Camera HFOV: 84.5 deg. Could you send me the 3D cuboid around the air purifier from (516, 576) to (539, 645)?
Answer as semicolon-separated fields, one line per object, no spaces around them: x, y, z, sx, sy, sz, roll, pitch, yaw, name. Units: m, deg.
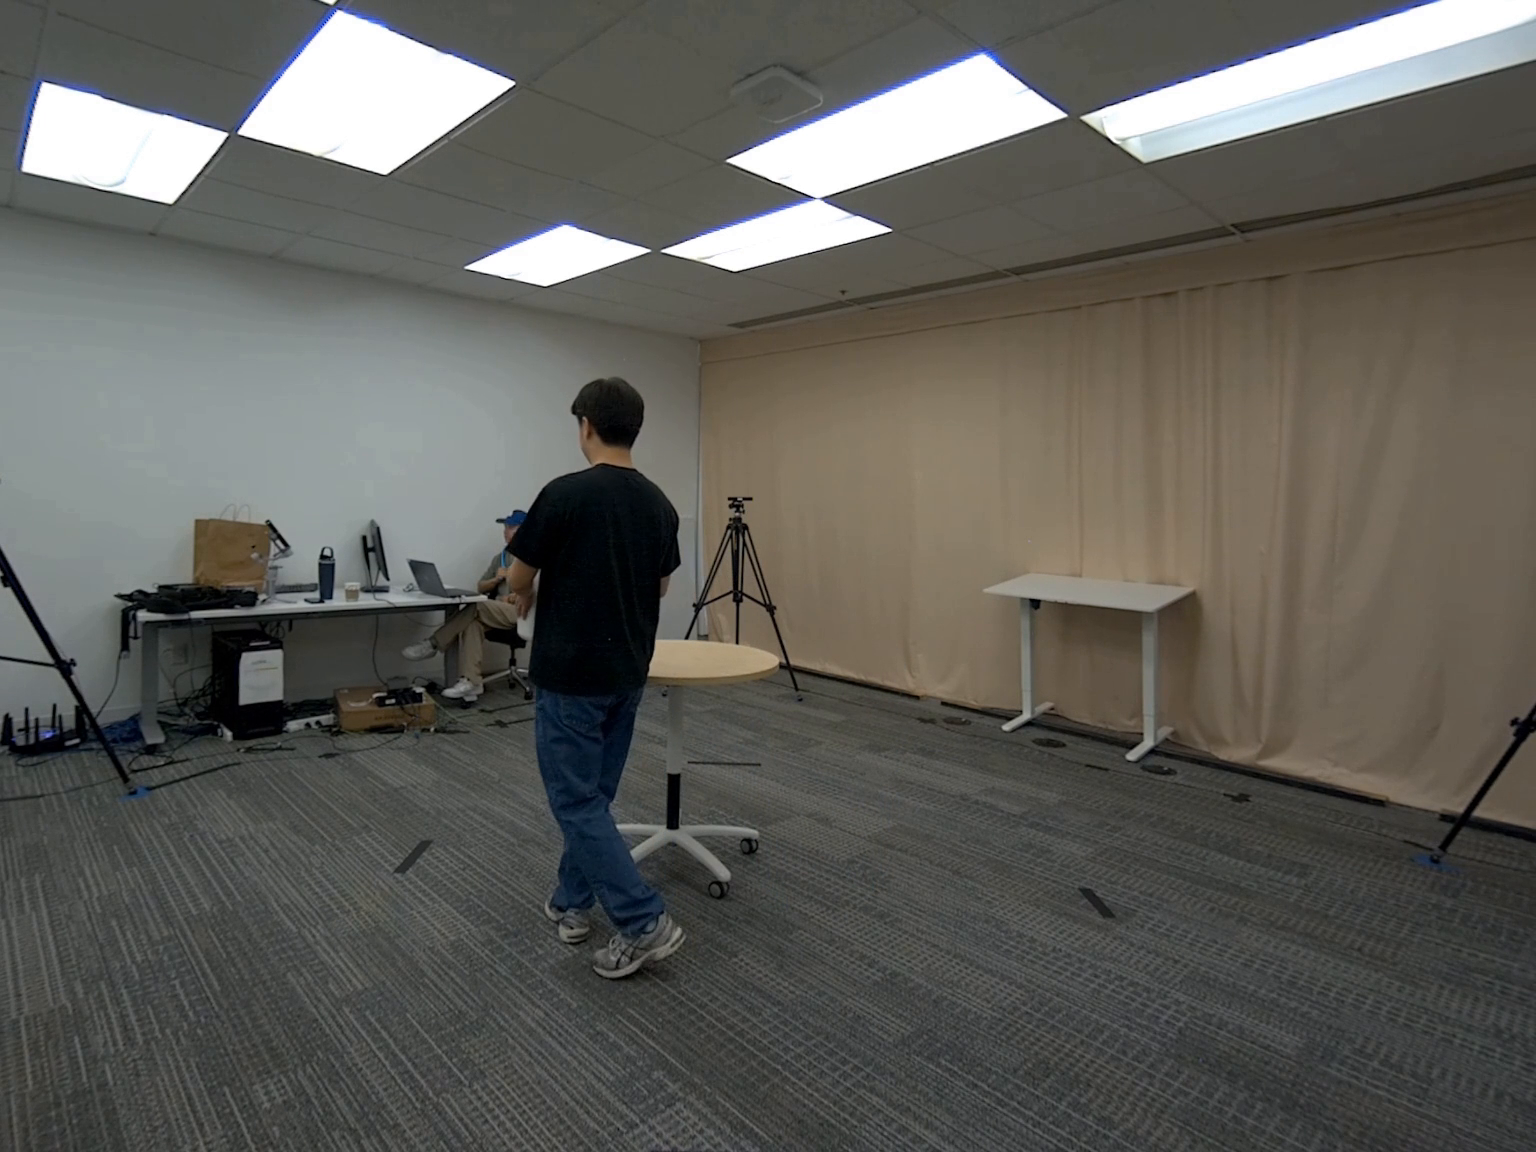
-0.742;0.088;2.856;0.168;0.265;0.175;0;4;-34;air purifier
